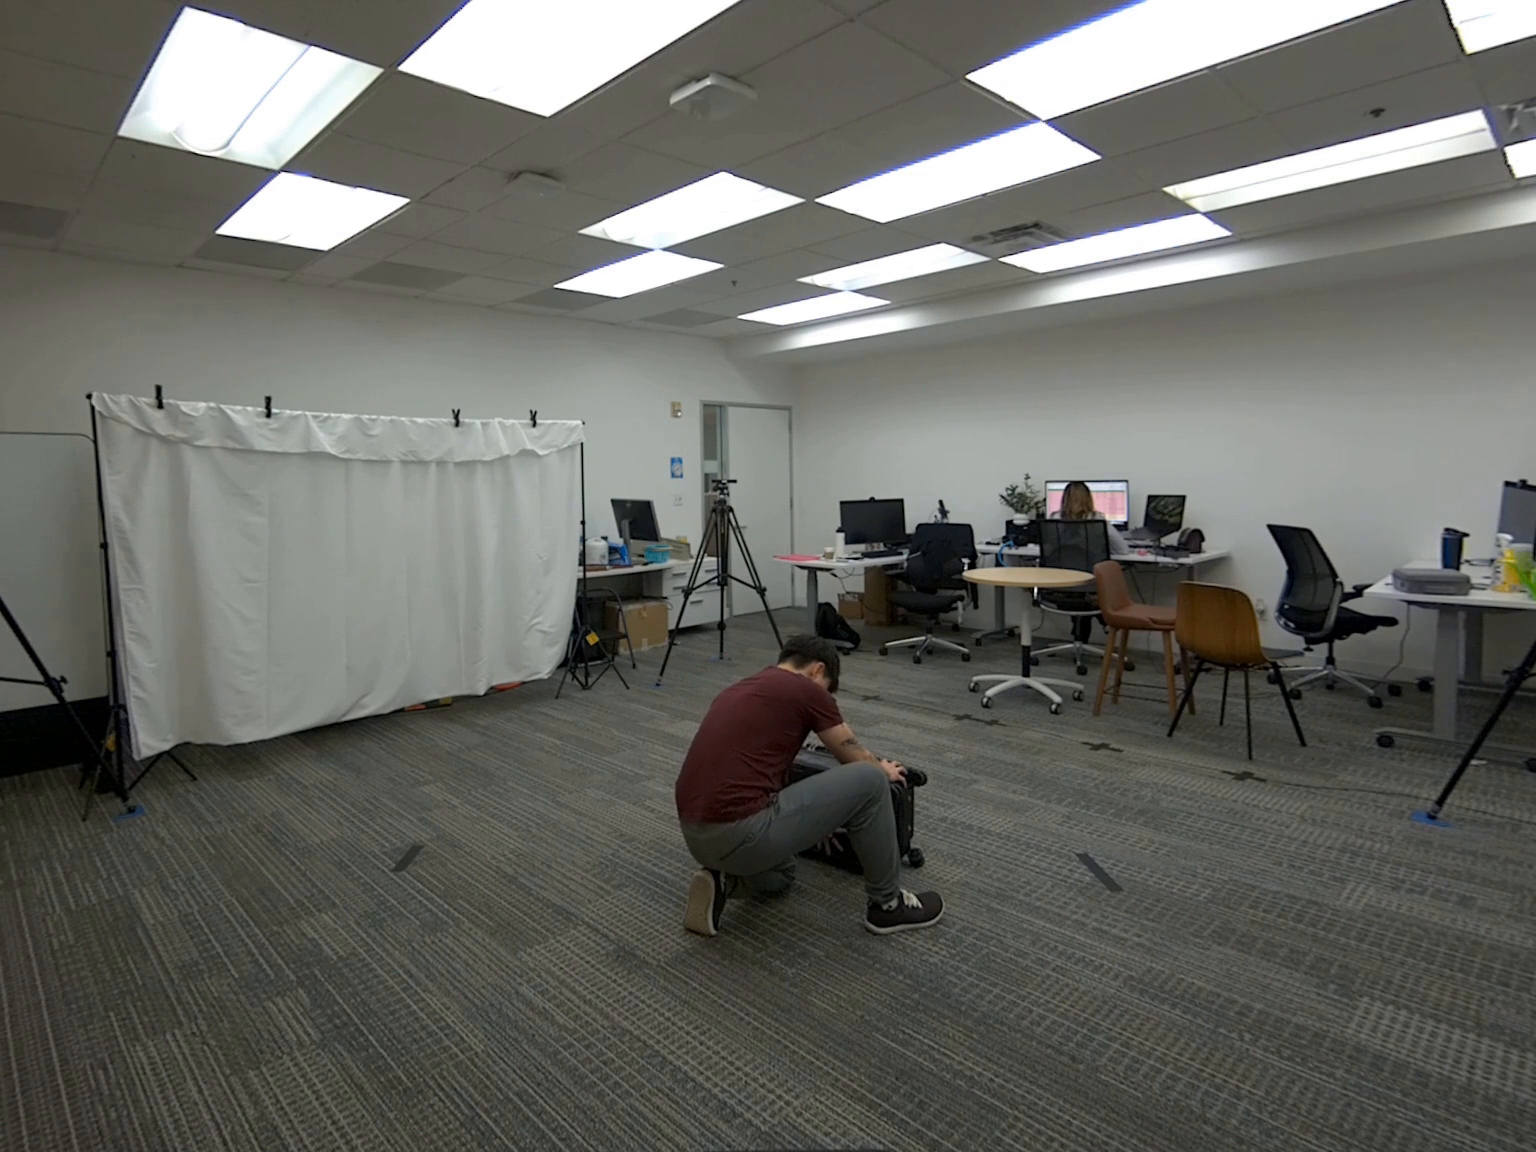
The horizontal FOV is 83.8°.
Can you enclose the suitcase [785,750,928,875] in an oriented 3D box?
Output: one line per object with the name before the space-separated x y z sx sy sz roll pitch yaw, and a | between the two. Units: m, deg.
suitcase | 0.120 0.838 3.298 1.008 0.384 0.250 3 2 37
